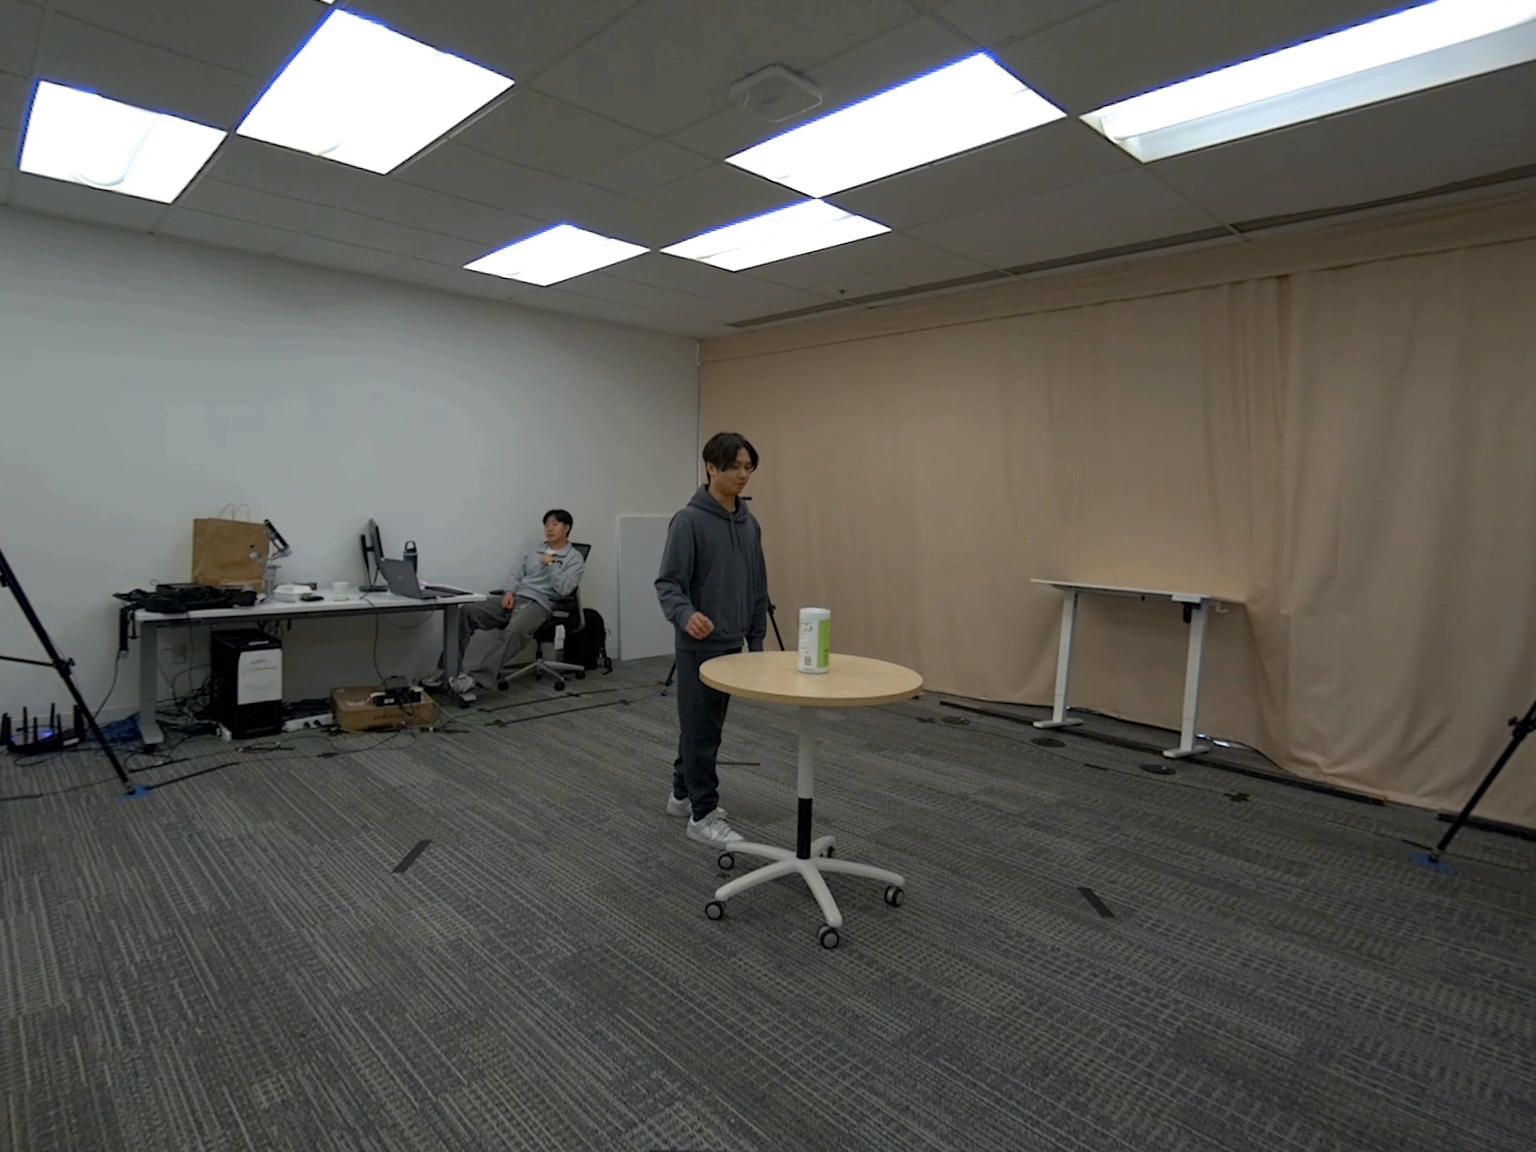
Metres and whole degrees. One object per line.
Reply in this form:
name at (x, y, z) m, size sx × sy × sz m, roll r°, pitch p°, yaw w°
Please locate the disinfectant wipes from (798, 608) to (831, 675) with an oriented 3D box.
disinfectant wipes at (0.156, 0.225, 2.921) m, size 0.118 × 0.217 × 0.118 m, roll 2°, pitch 3°, yaw -1°
